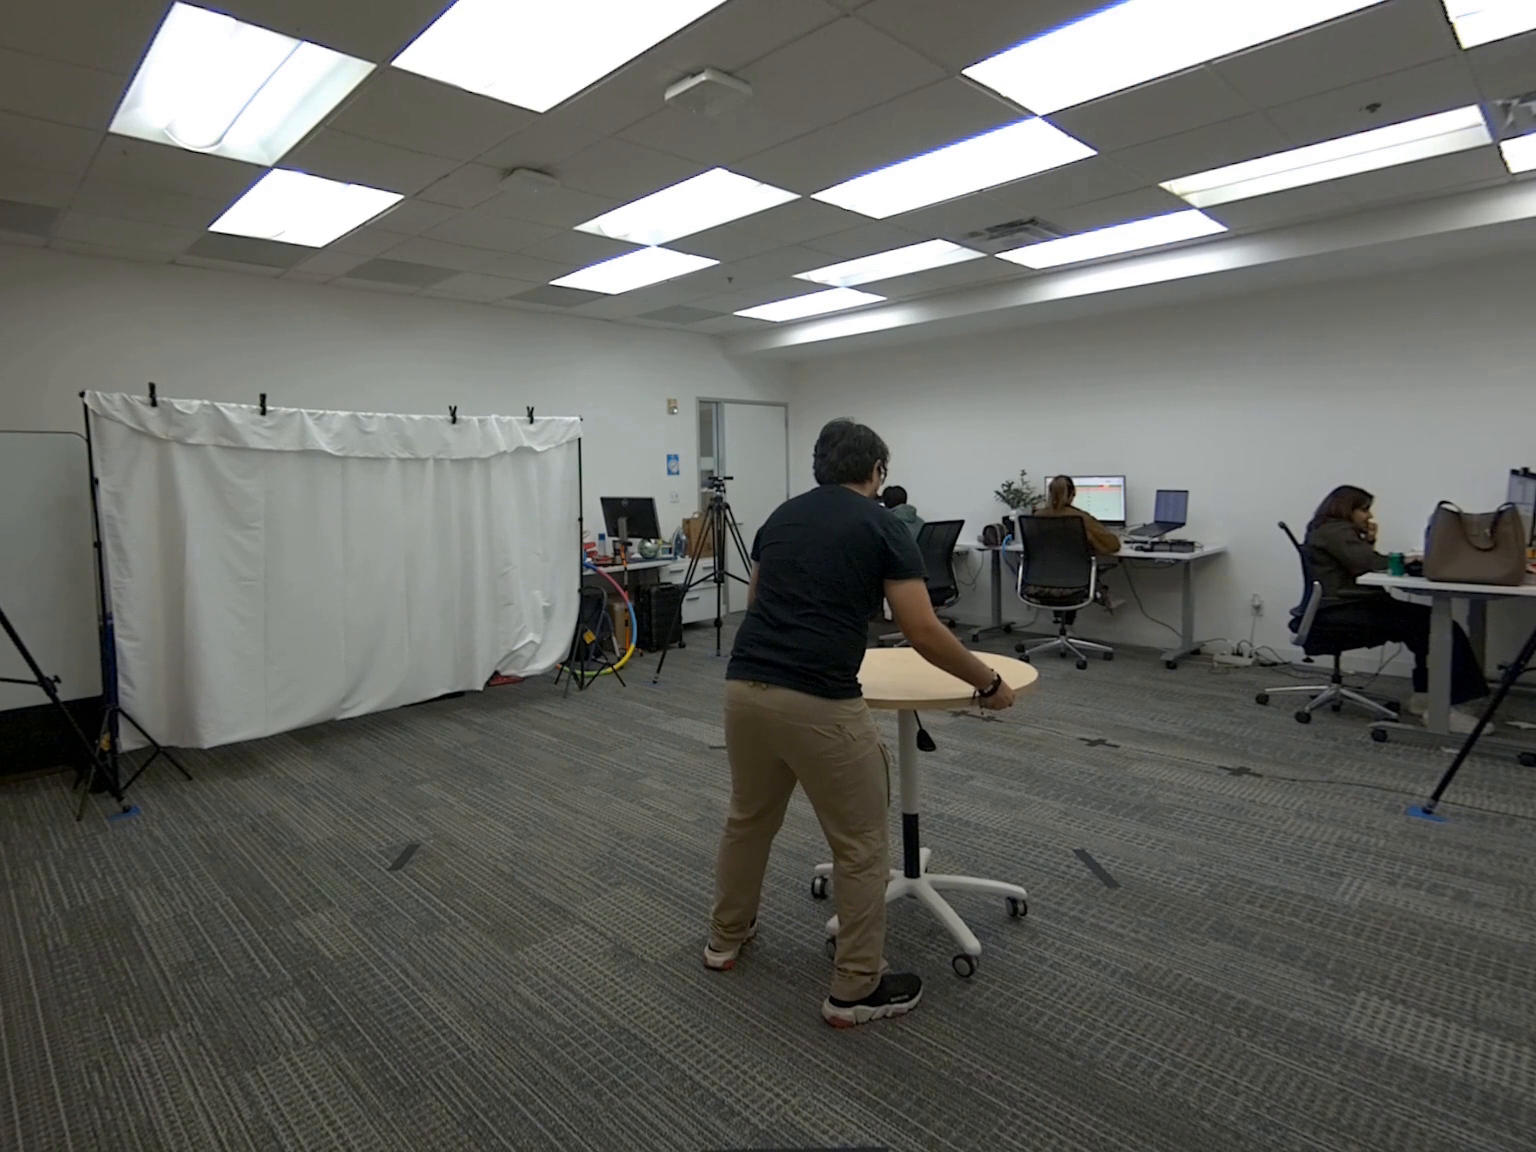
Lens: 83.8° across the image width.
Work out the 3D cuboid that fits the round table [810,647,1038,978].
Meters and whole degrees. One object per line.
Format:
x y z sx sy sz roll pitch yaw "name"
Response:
0.450 0.677 2.659 0.784 0.784 0.789 -2 4 -2 "round table"
